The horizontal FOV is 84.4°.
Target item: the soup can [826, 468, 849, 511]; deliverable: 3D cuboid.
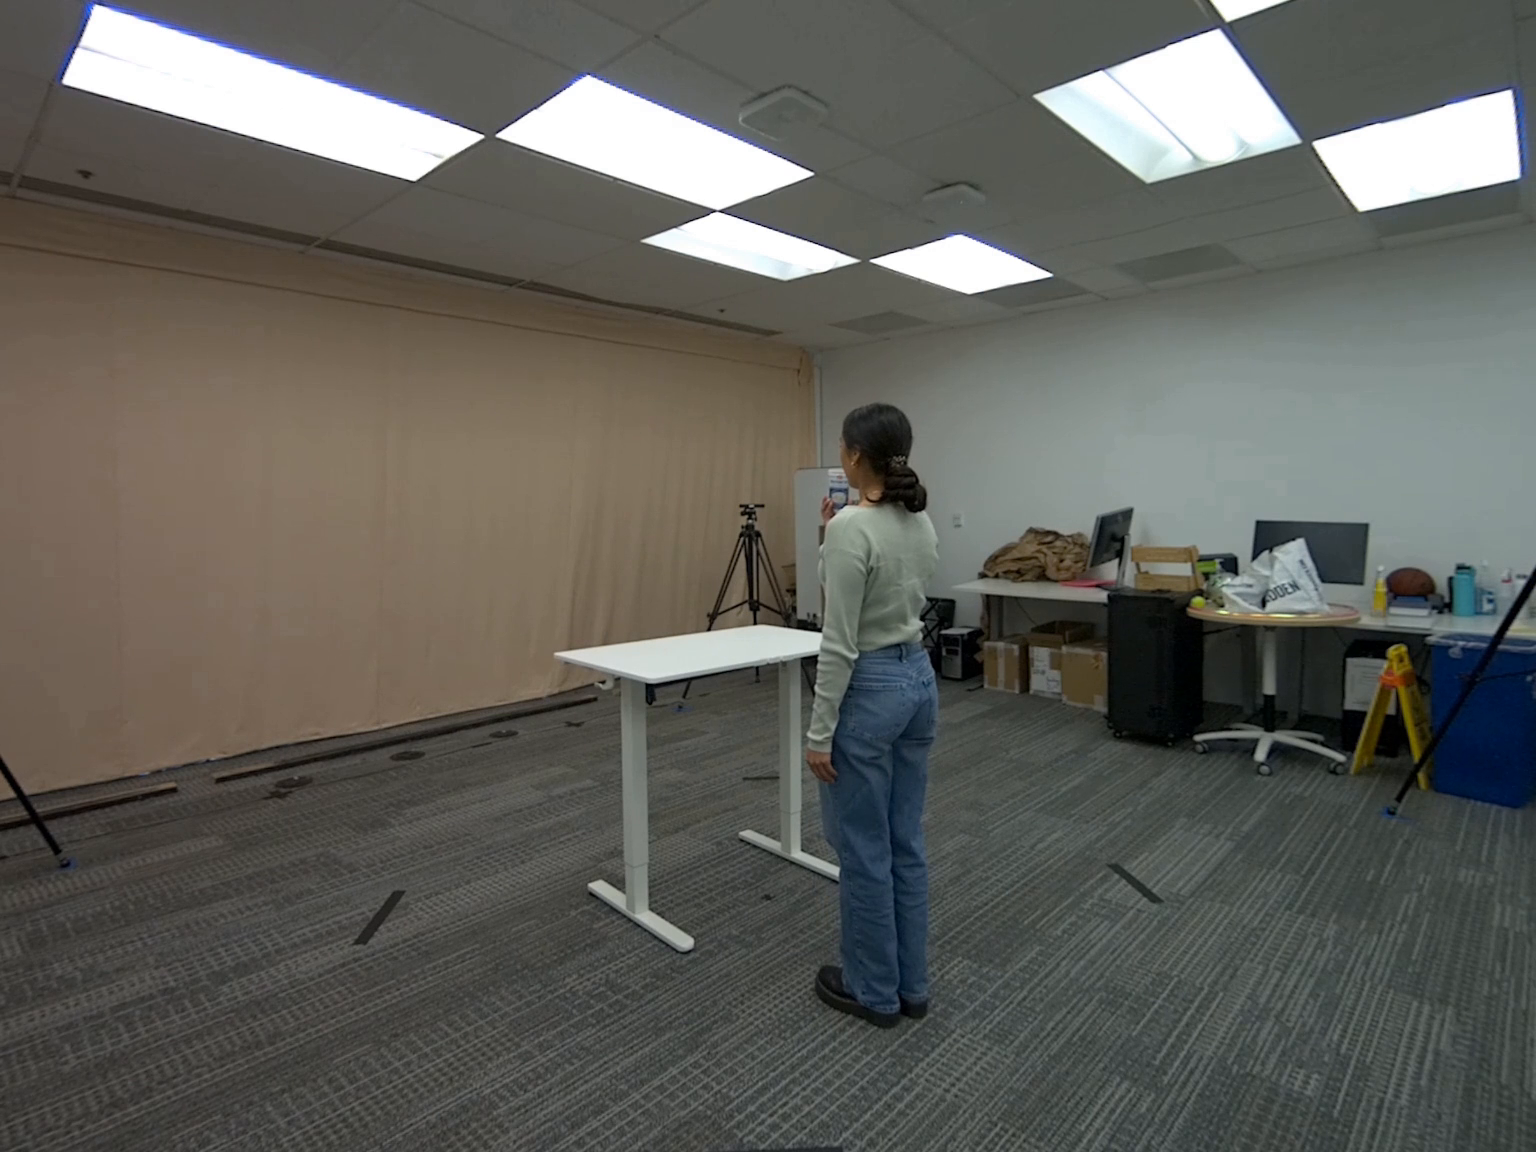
[{"bbox_3d":[0.215,-0.261,2.529,0.067,0.121,0.067,0,9,-2],"label":"soup can"}]
